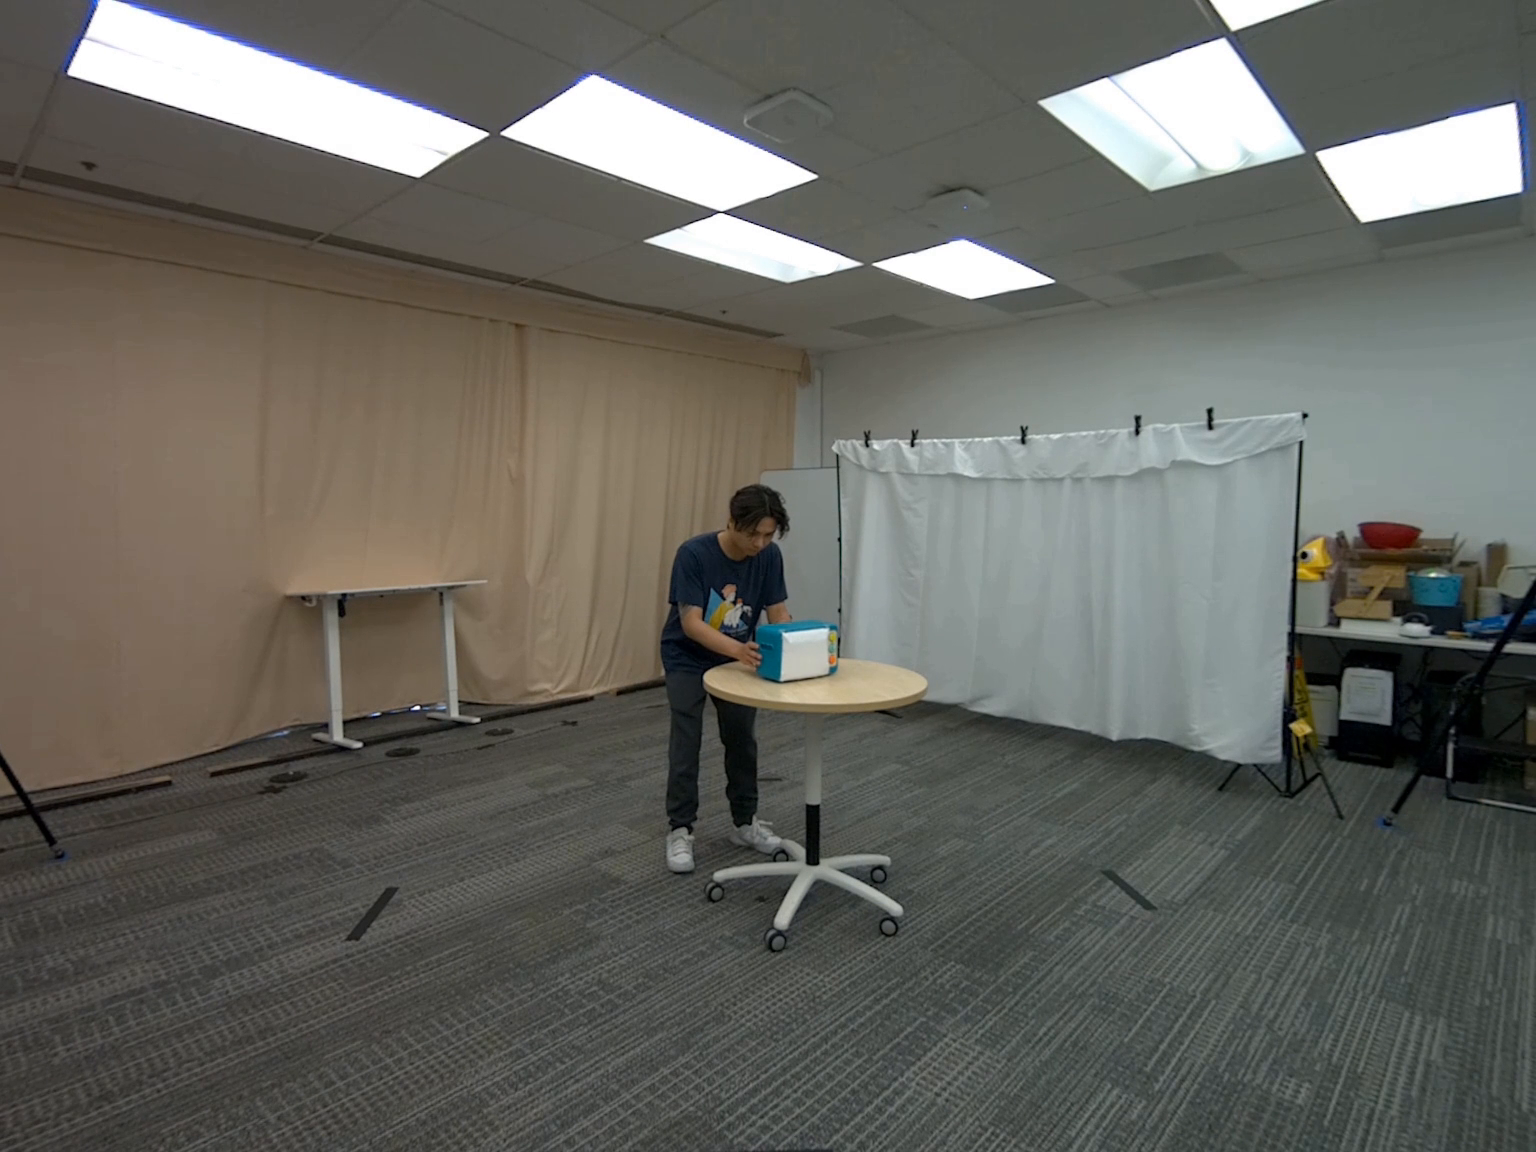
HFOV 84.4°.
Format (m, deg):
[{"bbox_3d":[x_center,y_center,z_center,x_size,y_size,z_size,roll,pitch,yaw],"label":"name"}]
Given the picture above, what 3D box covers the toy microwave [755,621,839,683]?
[{"bbox_3d":[0.111,0.259,2.916,0.278,0.183,0.157,-3,6,-36],"label":"toy microwave"}]
